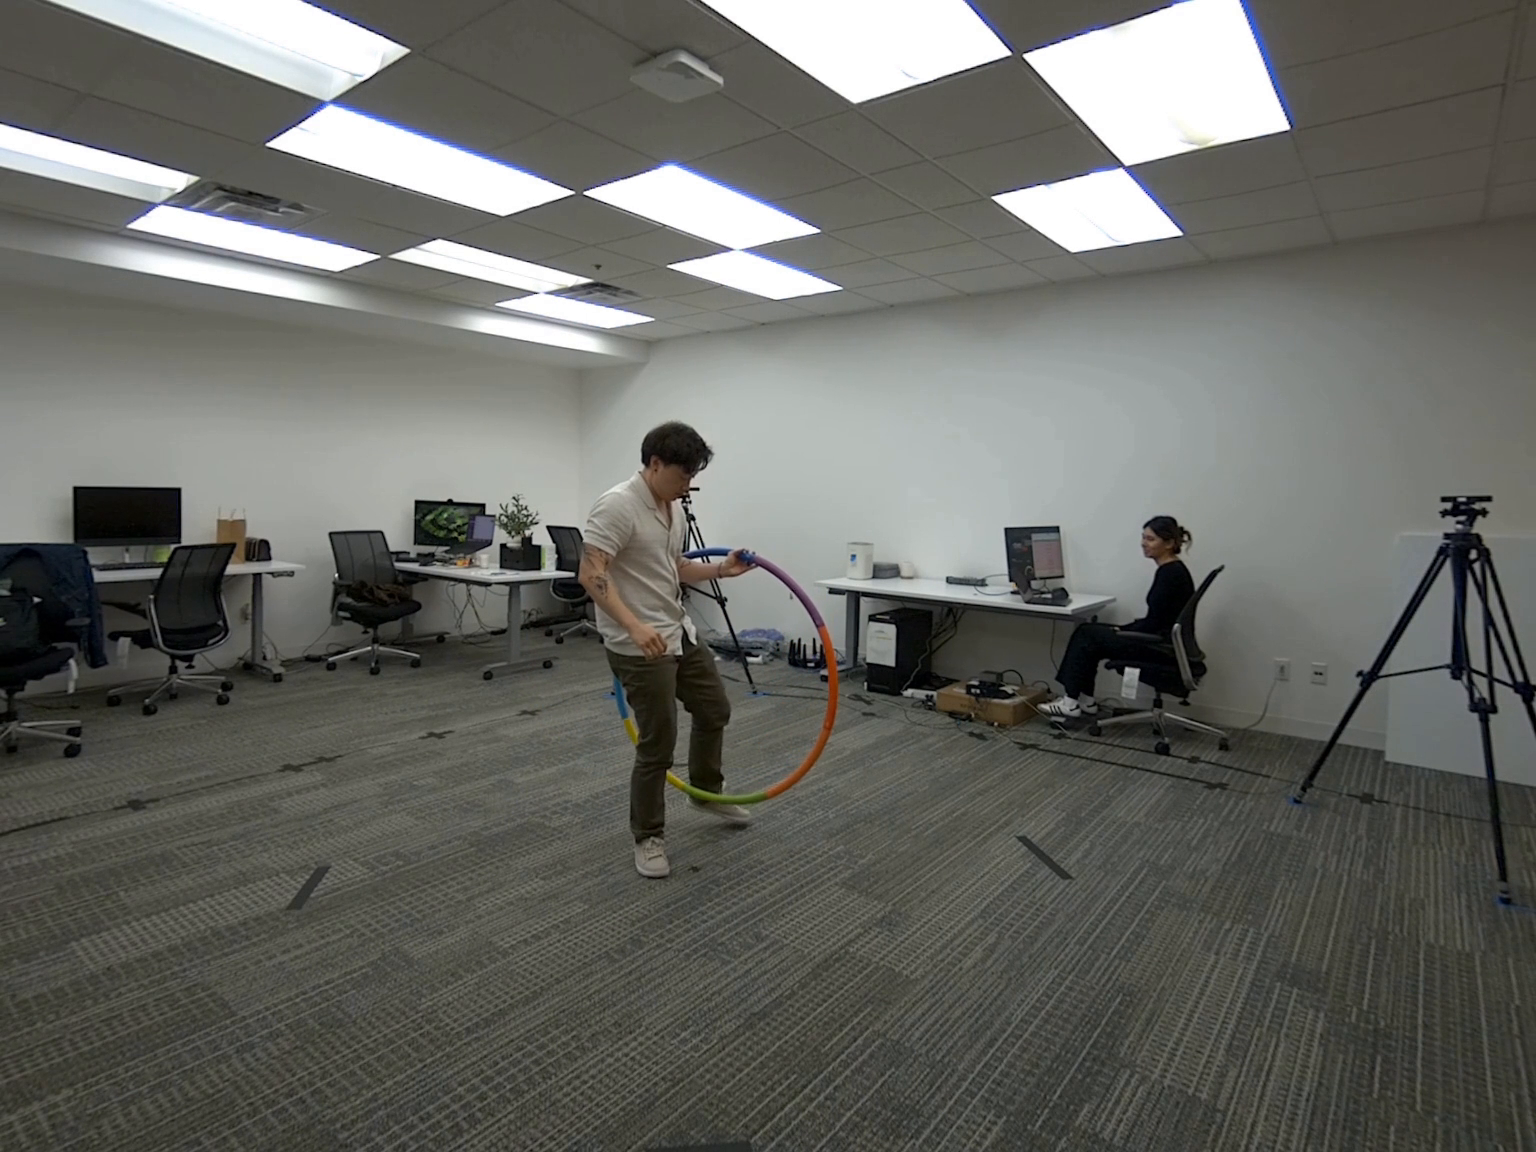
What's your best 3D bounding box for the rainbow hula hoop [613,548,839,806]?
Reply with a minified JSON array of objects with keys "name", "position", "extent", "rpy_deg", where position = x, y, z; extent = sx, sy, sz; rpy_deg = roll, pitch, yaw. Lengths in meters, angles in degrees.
[{"name":"rainbow hula hoop","position":[-0.203,0.386,3.293],"extent":[1.005,0.978,0.034],"rpy_deg":[3,1,27]}]
